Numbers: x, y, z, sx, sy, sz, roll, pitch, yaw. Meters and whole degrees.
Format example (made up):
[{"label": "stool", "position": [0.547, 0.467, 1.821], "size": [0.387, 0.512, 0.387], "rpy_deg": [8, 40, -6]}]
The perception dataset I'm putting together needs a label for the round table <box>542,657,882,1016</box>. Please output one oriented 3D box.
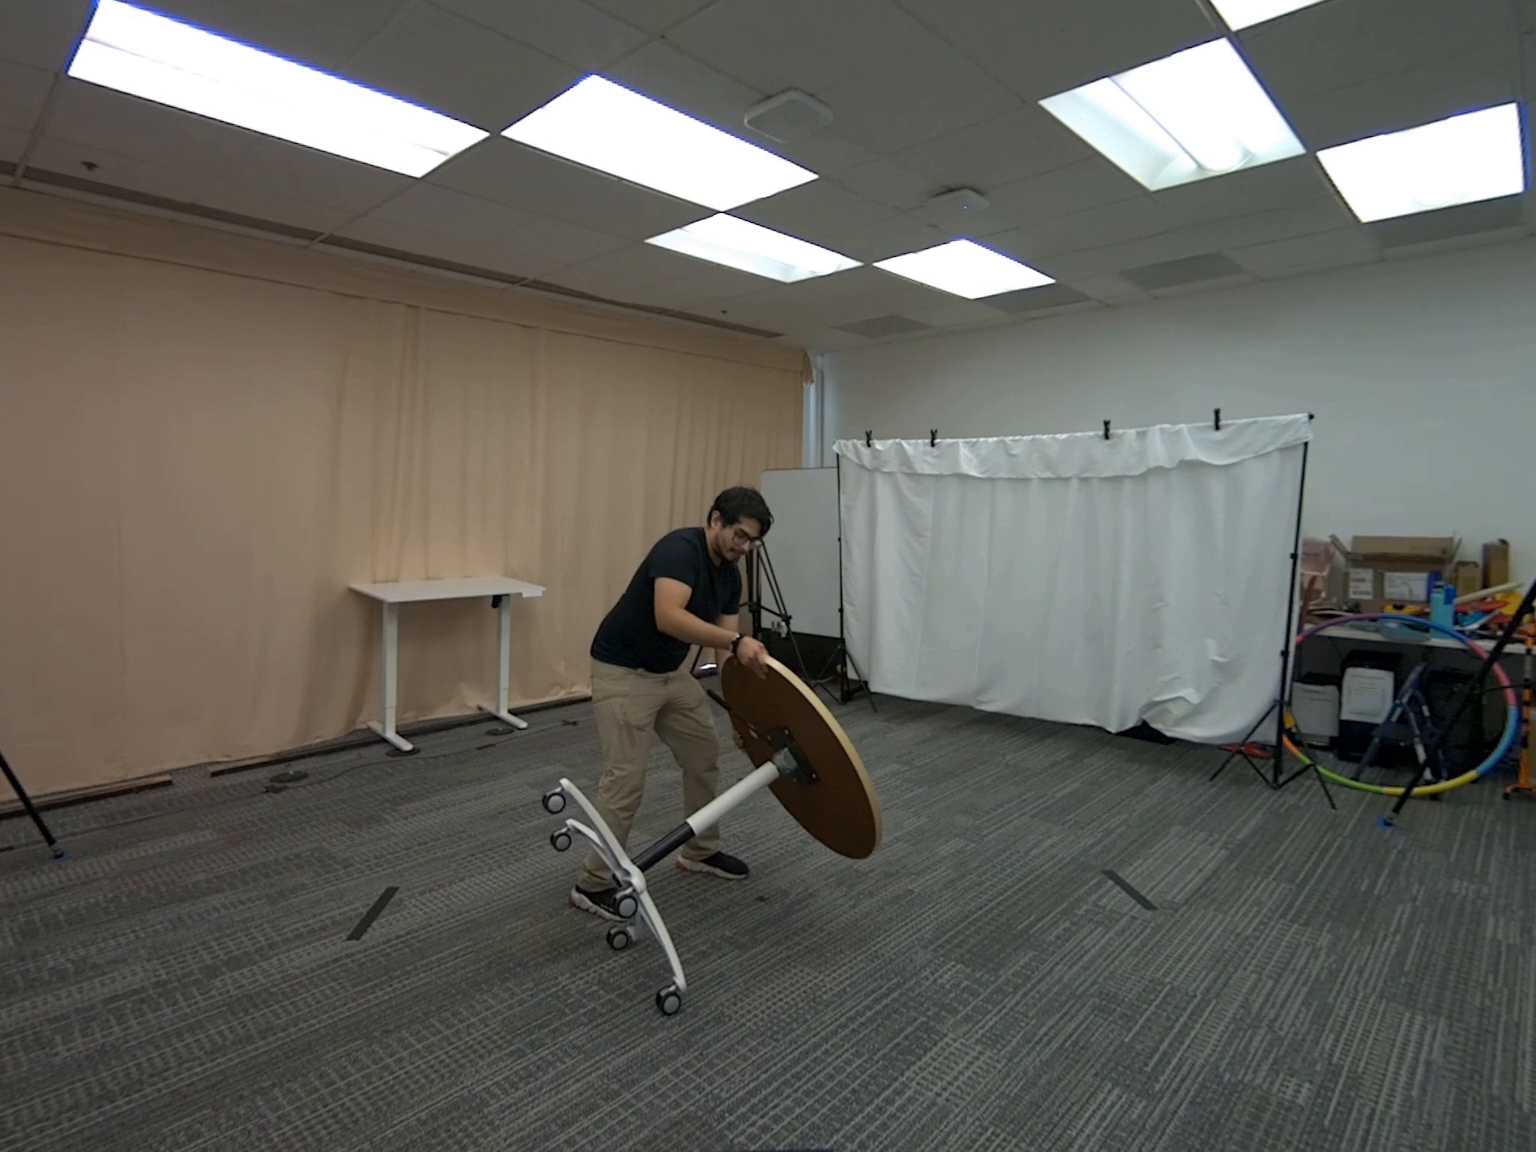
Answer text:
[{"label": "round table", "position": [-0.194, 0.760, 2.593], "size": [0.776, 0.773, 0.808], "rpy_deg": [-31, 18, -25]}]
